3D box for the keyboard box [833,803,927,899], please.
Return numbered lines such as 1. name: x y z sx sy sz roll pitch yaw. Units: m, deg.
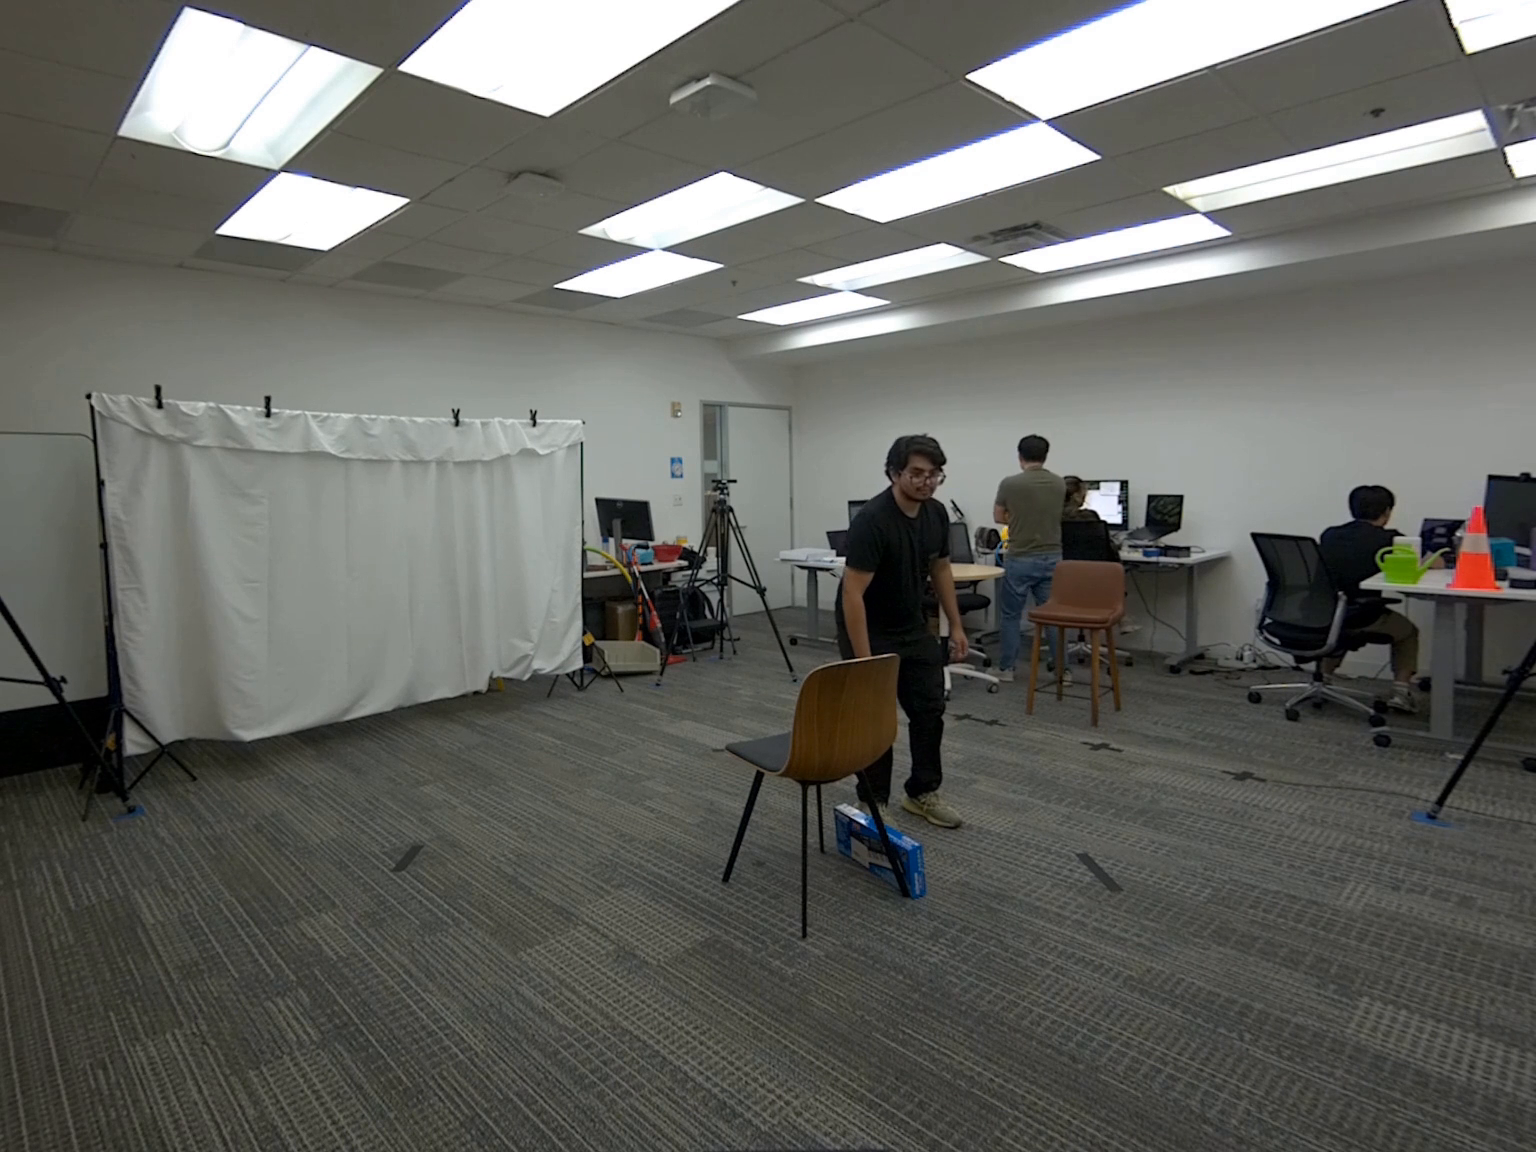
1. keyboard box: 0.392 0.967 3.023 0.058 0.175 0.448 -9 9 -28
